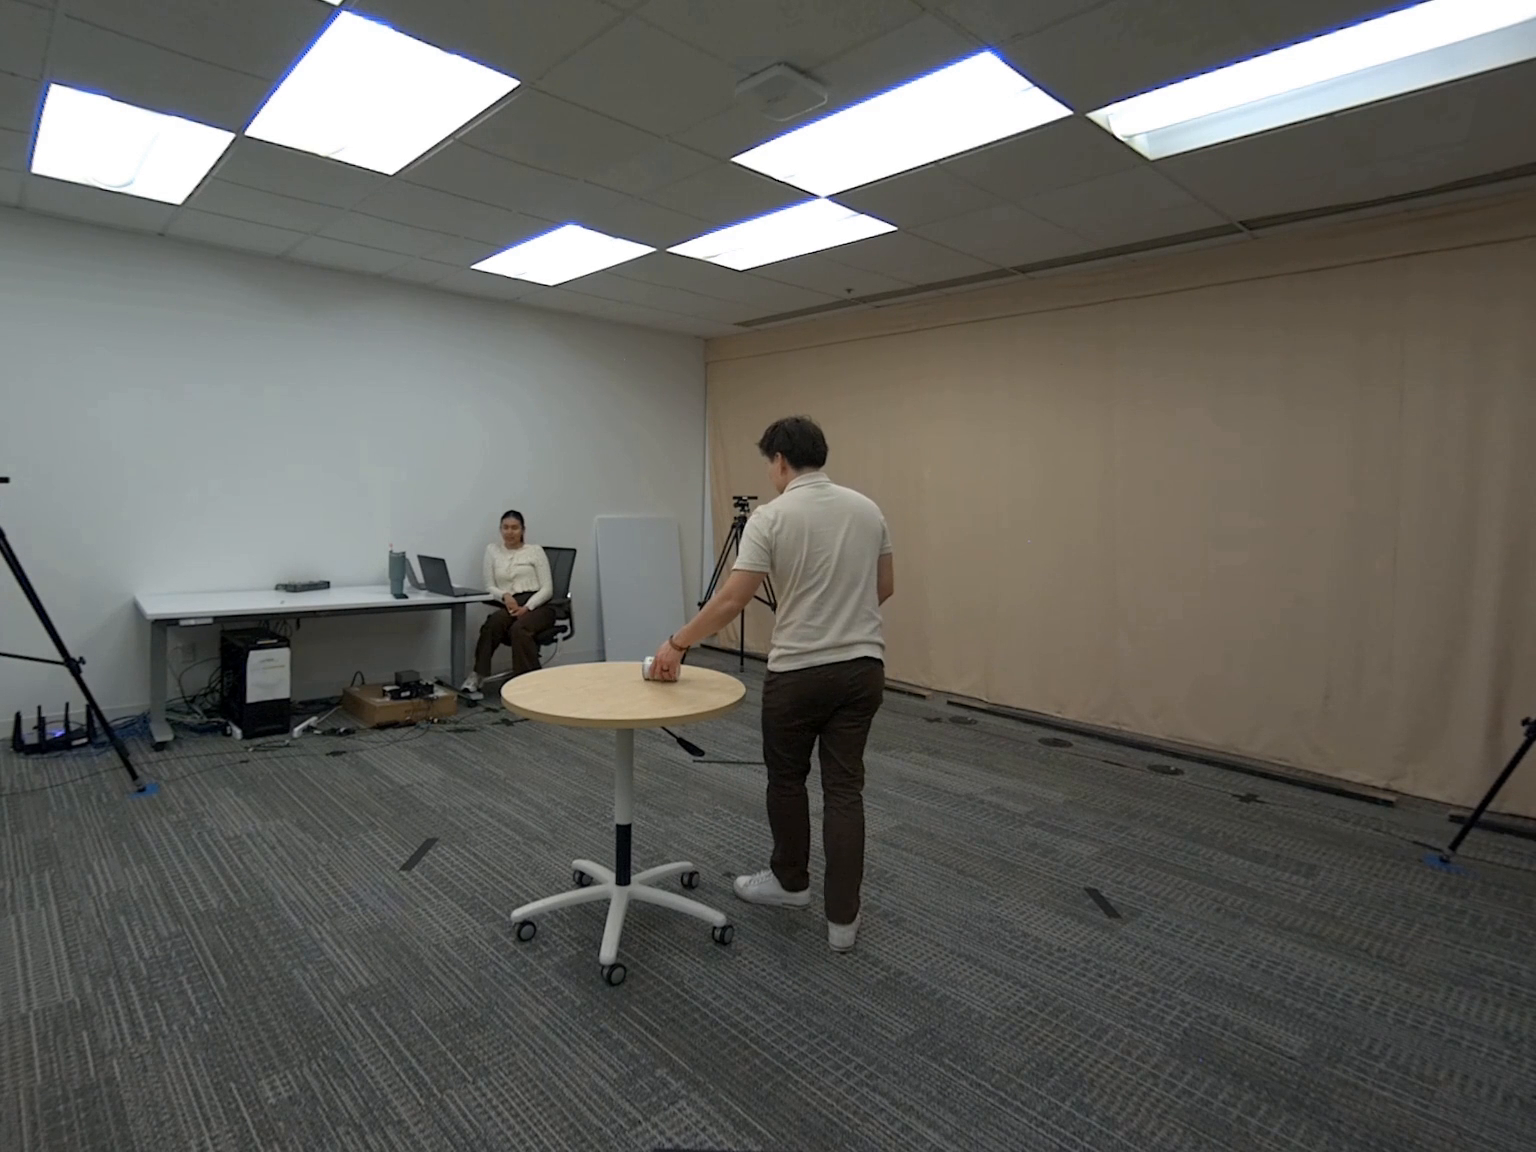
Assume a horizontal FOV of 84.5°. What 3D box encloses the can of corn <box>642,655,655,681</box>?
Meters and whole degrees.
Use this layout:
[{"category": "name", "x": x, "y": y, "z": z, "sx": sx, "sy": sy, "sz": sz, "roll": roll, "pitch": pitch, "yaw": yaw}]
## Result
[{"category": "can of corn", "x": -0.352, "y": 0.308, "z": 2.772, "sx": 0.111, "sy": 0.074, "sz": 0.074, "roll": 3, "pitch": 4, "yaw": 3}]
